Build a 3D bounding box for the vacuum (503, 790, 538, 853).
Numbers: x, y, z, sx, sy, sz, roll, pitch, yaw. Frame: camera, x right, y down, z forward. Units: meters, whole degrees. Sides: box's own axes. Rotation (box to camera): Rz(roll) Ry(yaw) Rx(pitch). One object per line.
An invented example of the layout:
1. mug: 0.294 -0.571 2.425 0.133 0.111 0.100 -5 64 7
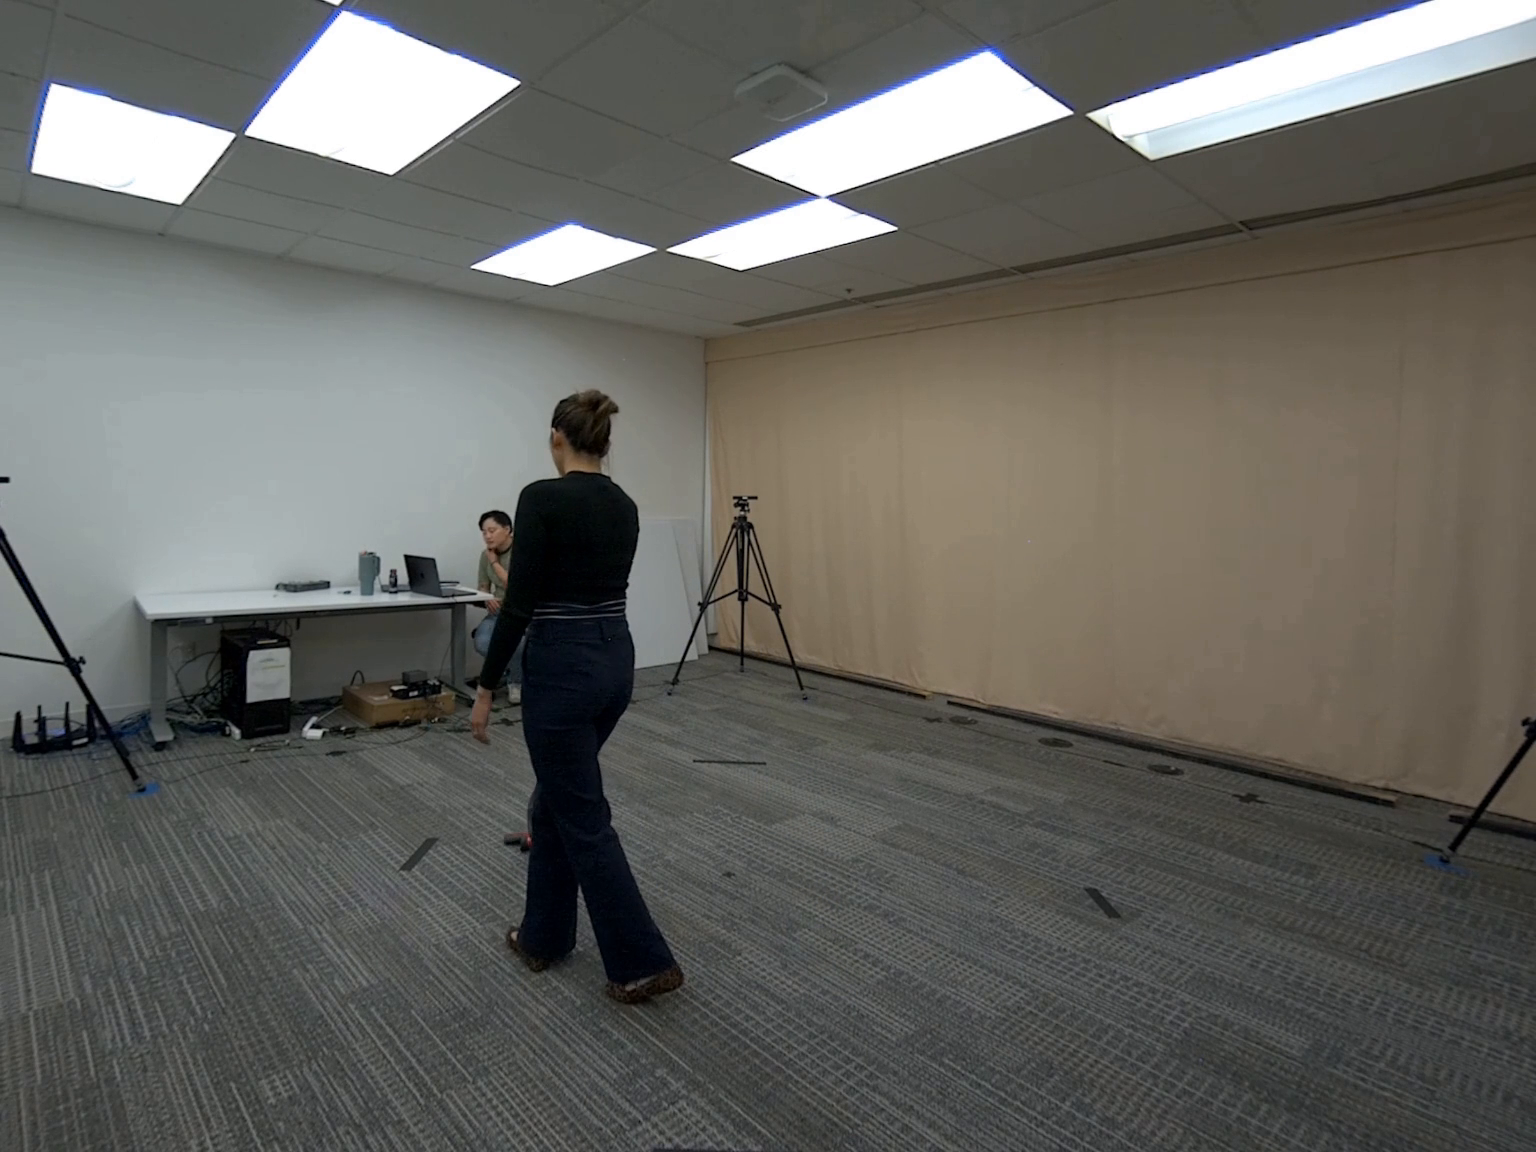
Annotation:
1. vacuum: -0.787 0.718 2.975 0.248 0.148 1.037 -1 -41 -22
